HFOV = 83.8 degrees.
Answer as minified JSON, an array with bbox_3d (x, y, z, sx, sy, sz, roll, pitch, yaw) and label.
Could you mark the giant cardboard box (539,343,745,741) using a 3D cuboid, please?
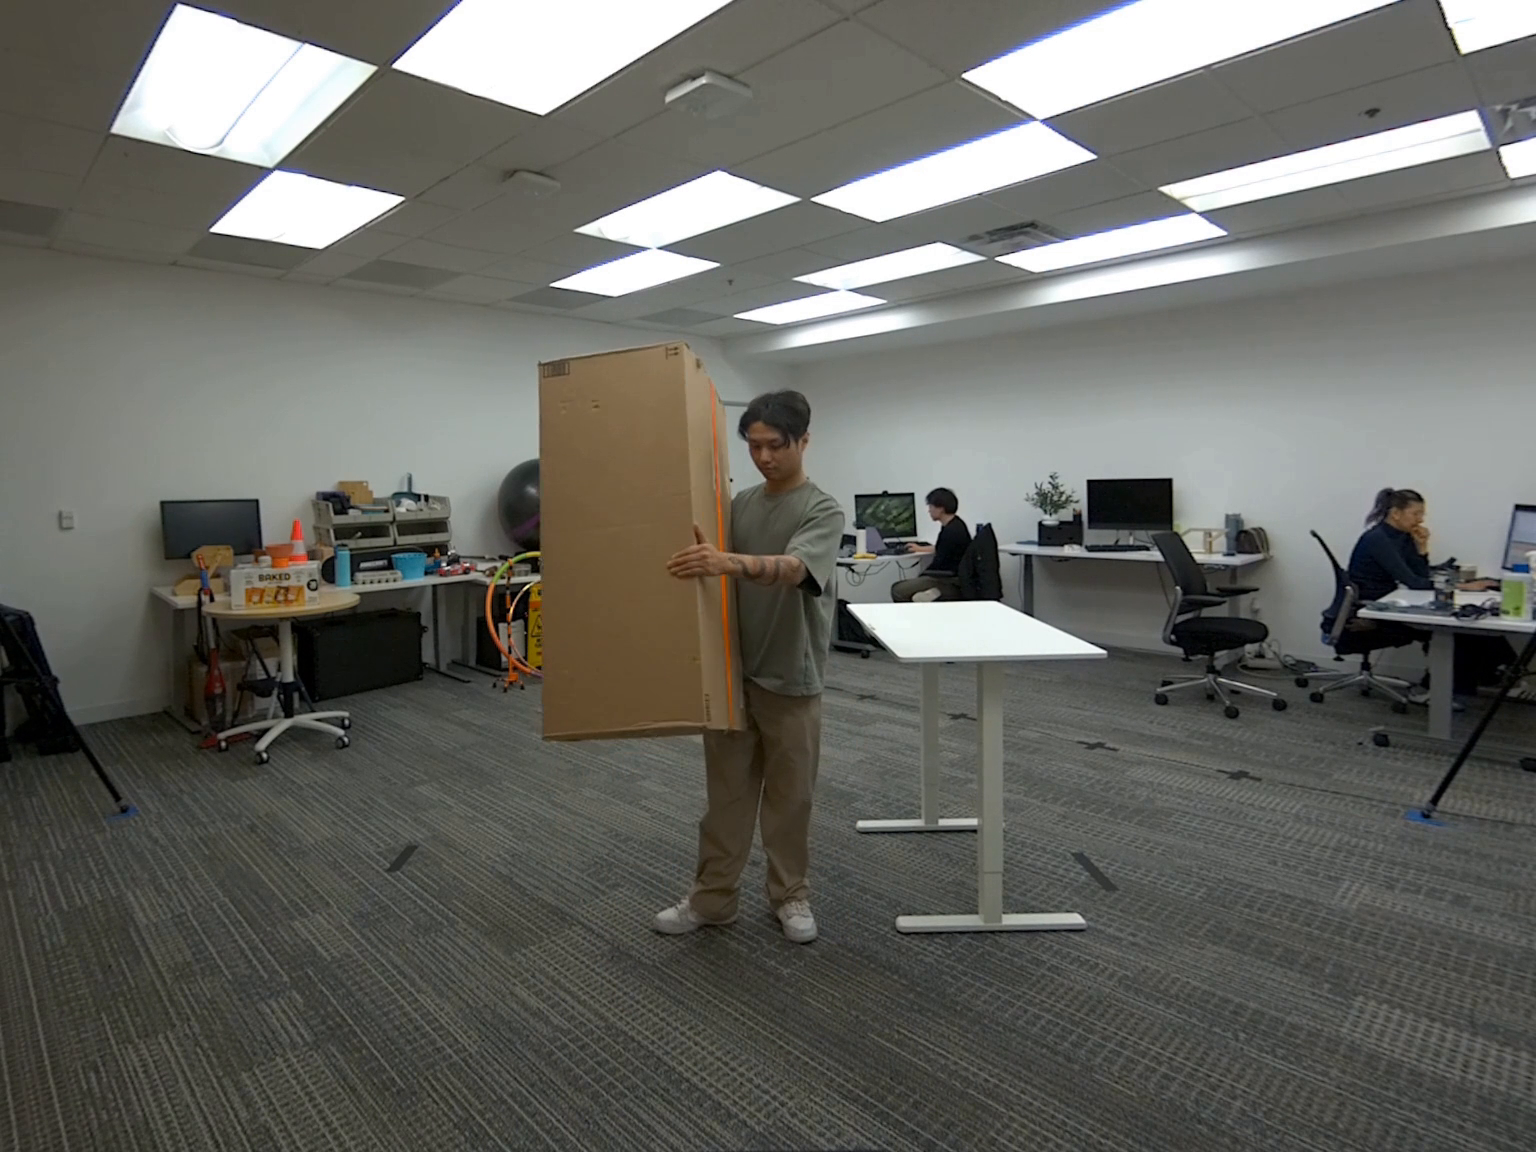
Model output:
[{"bbox_3d":[-0.350,-0.059,2.465,0.430,1.040,0.565,-6,-14,8],"label":"giant cardboard box"}]
